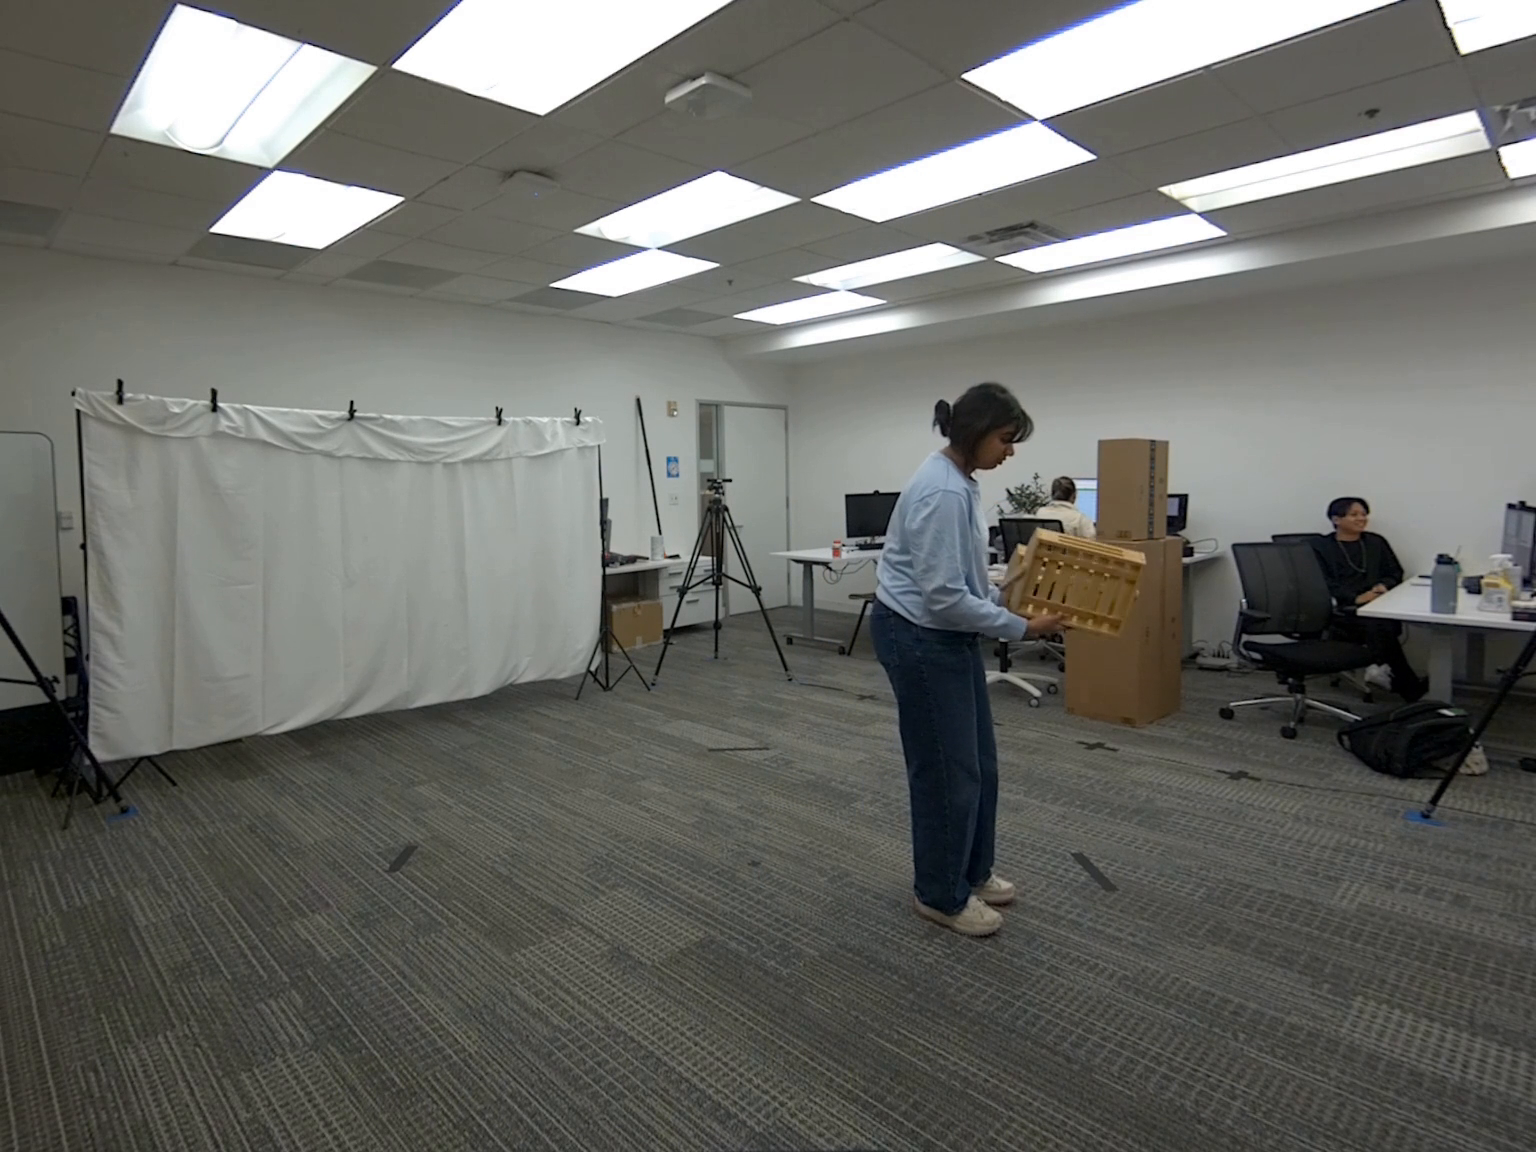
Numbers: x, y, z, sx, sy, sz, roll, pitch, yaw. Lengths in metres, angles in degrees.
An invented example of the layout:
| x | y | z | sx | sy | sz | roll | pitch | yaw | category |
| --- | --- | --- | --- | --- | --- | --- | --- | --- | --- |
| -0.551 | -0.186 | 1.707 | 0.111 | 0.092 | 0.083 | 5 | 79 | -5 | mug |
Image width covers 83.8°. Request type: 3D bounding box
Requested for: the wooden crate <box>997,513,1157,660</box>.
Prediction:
| x | y | z | sx | sy | sz | roll | pitch | yaw | category |
| --- | --- | --- | --- | --- | --- | --- | --- | --- | --- |
| 0.902 | 0.021 | 2.559 | 0.327 | 0.299 | 0.274 | 14 | 15 | 6 | wooden crate |
